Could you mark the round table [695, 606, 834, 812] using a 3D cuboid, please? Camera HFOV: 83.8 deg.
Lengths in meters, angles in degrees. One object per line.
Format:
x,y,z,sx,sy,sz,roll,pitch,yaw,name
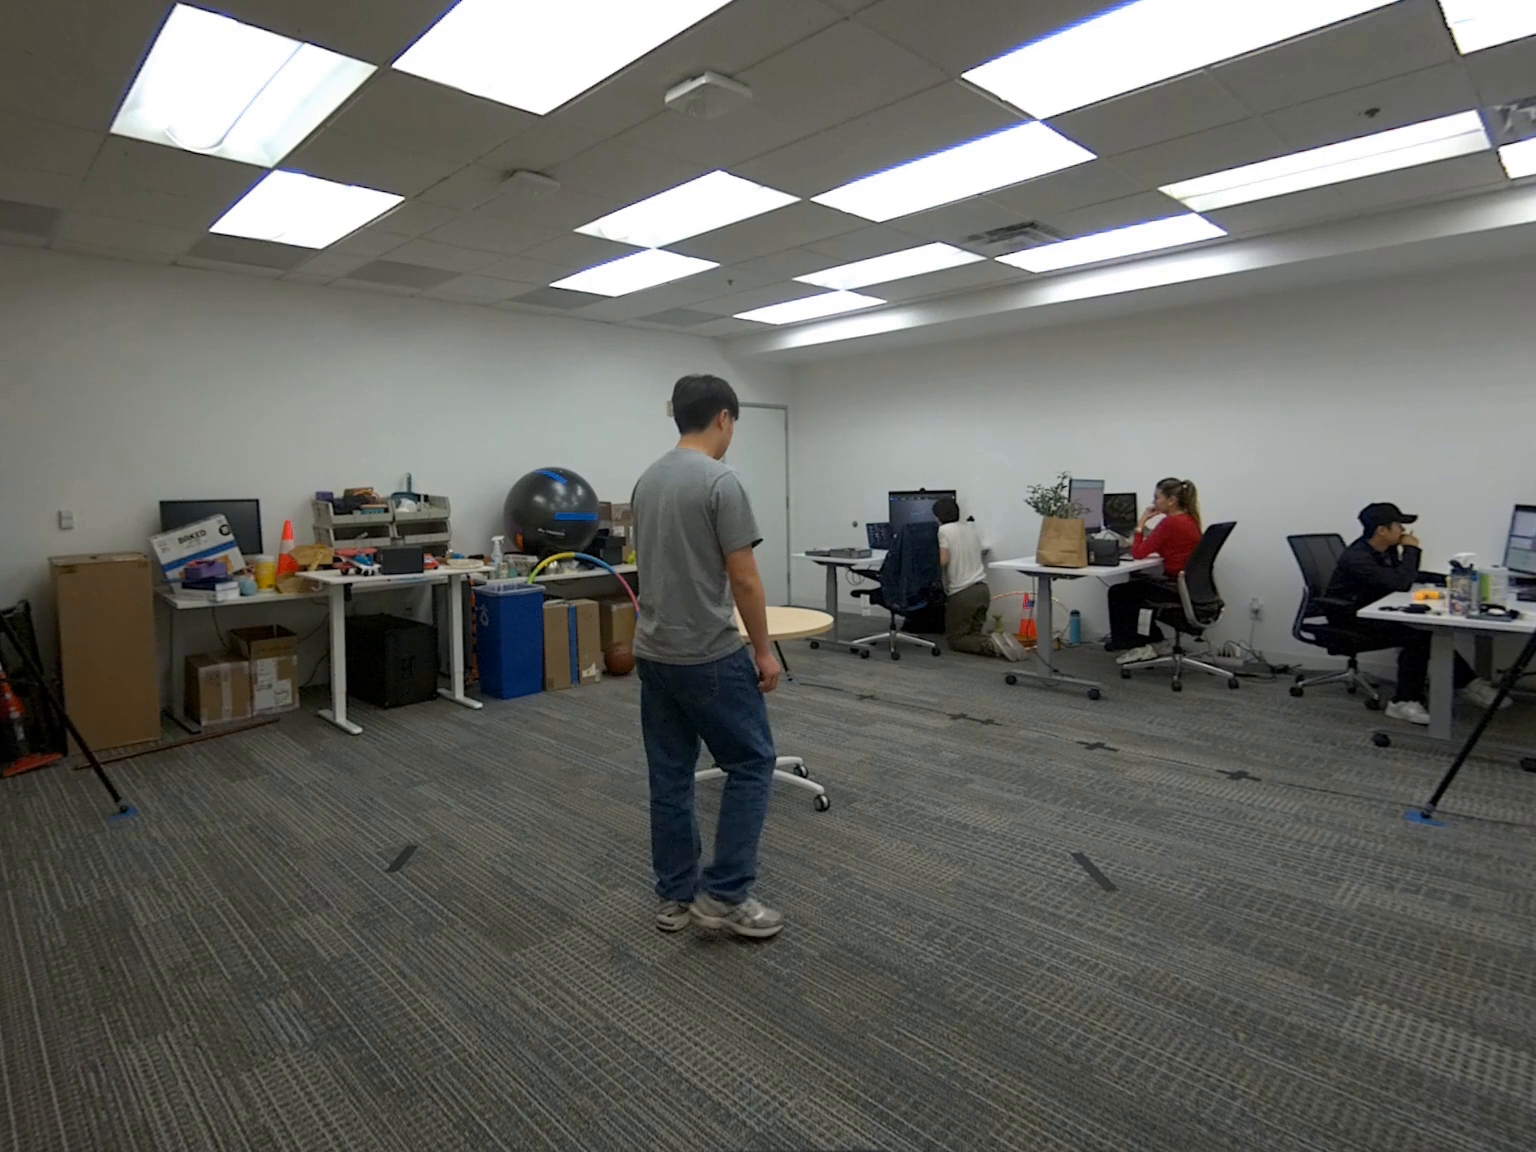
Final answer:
-0.084,0.587,3.750,0.763,0.791,0.768,-1,4,-2,round table
